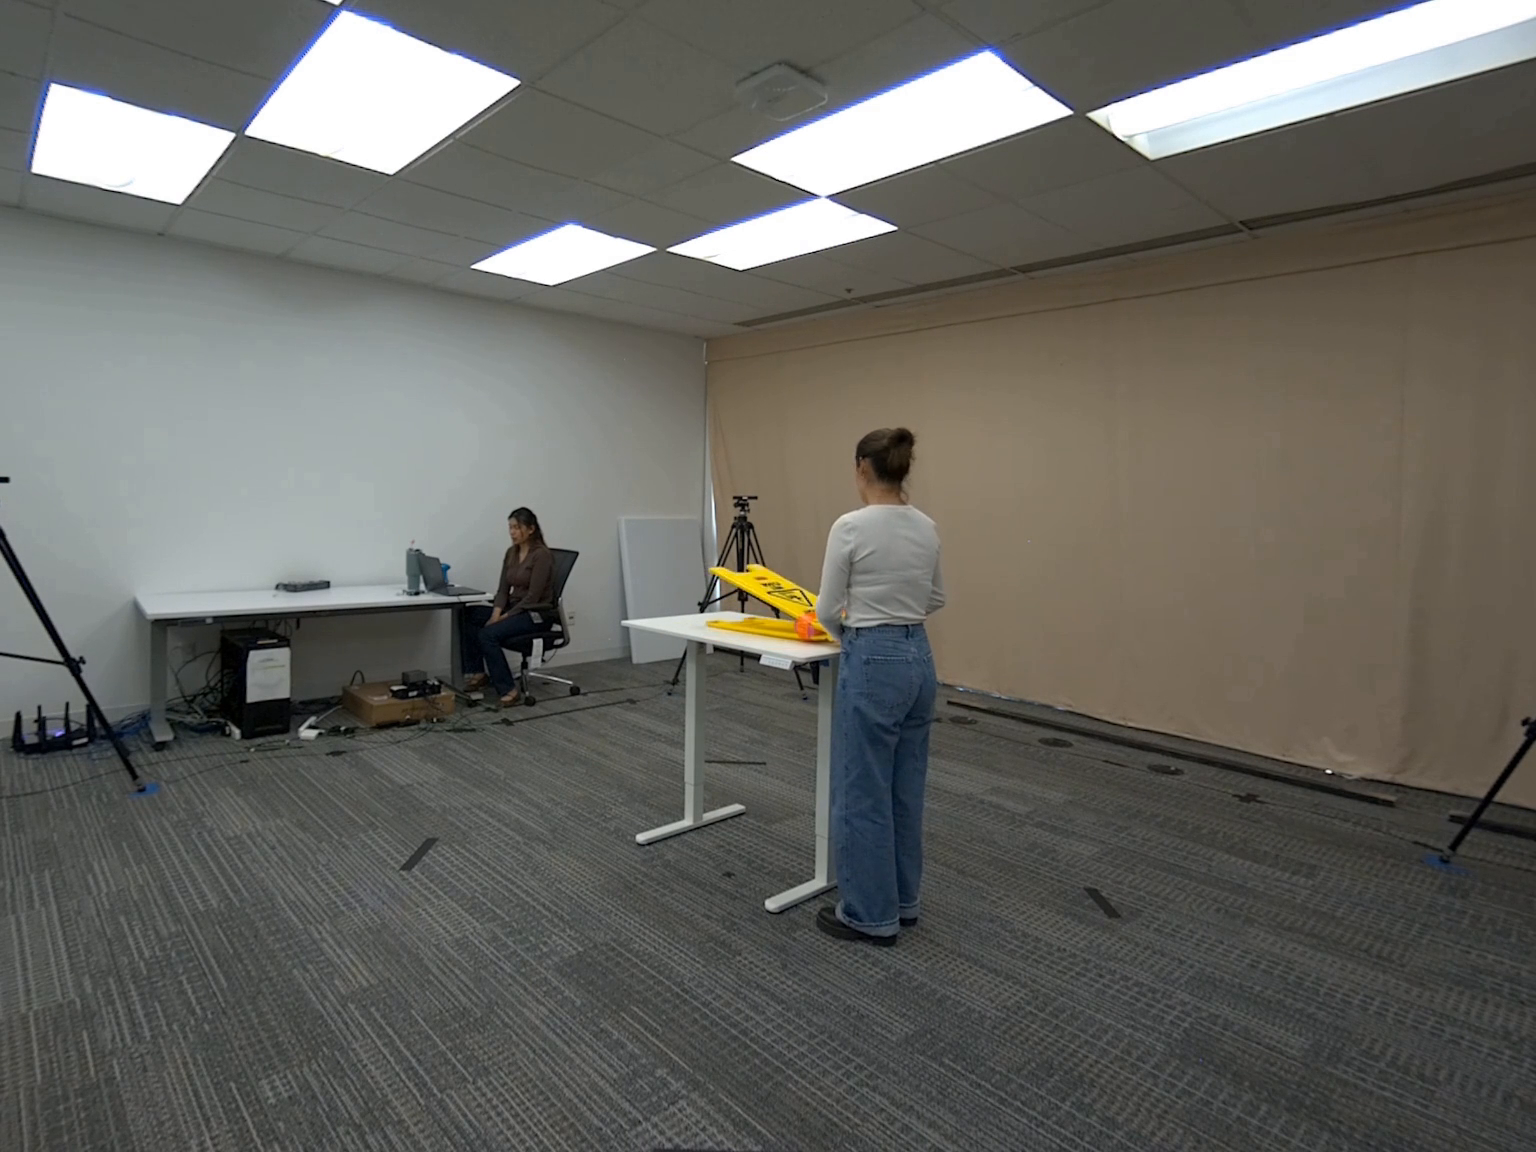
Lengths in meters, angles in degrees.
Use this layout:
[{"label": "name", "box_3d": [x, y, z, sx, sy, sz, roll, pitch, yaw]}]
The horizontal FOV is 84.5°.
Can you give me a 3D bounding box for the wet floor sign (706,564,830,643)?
[{"label": "wet floor sign", "box_3d": [0.075, 0.151, 3.157, 0.276, 0.288, 0.665, -5, 14, -42]}]
